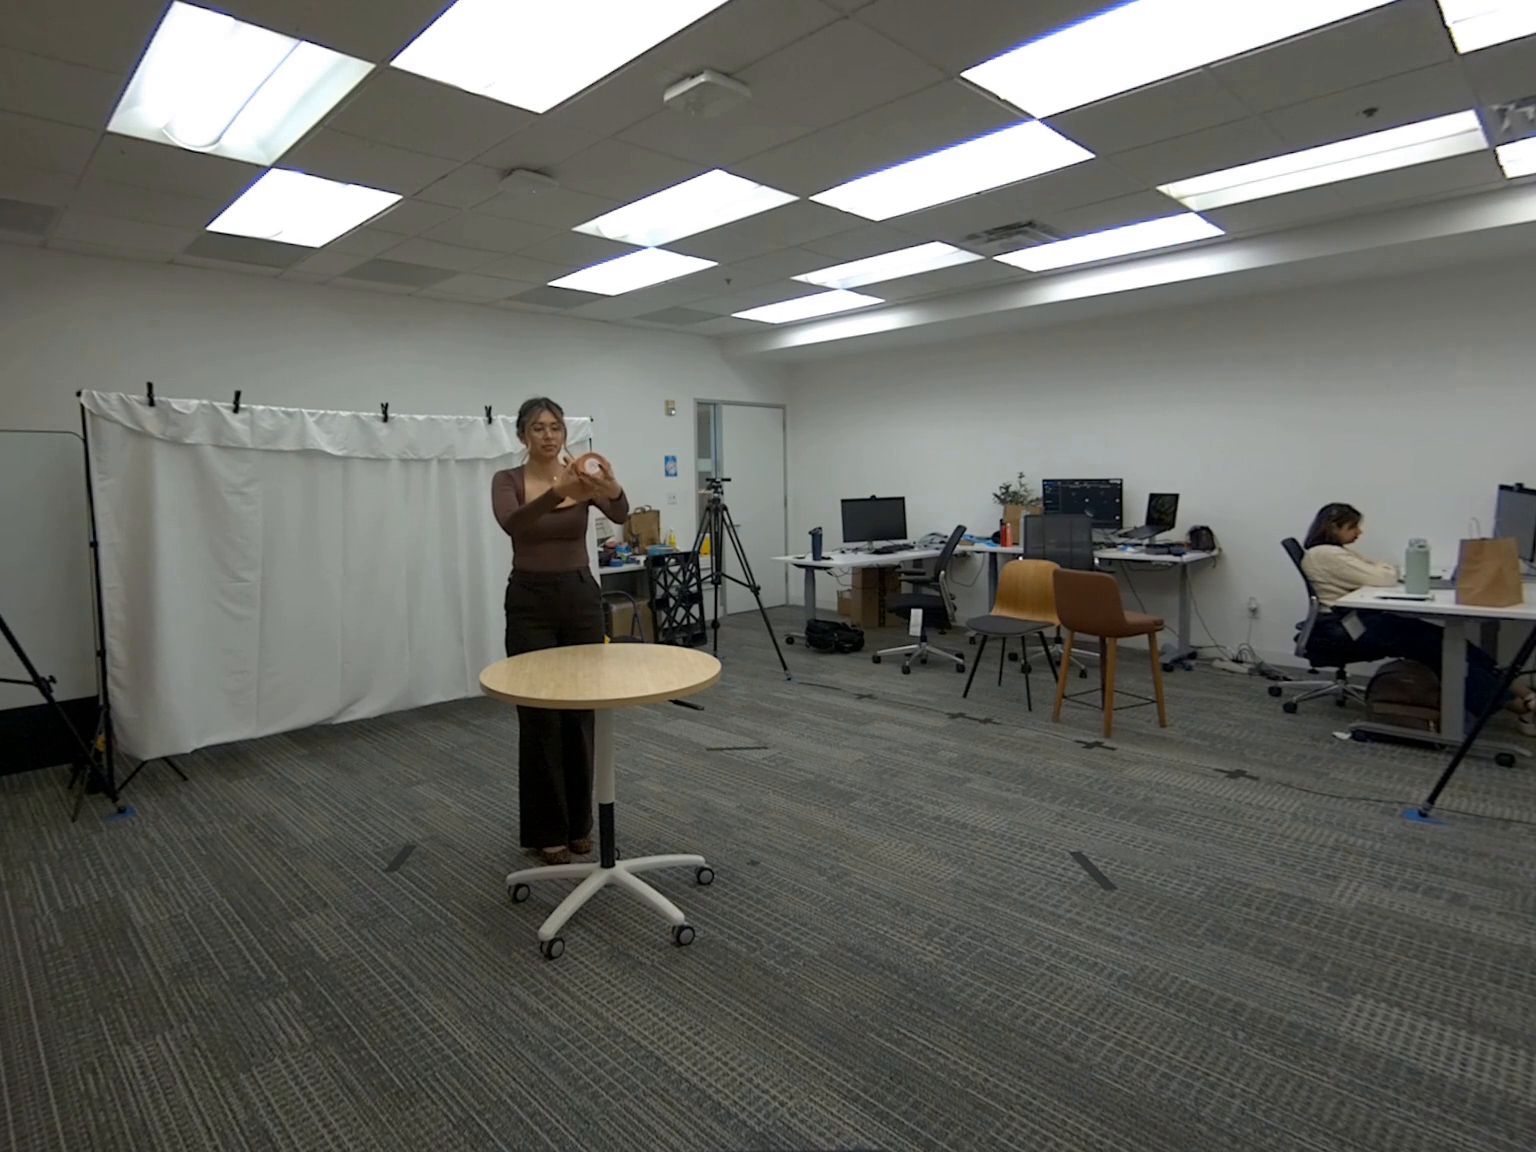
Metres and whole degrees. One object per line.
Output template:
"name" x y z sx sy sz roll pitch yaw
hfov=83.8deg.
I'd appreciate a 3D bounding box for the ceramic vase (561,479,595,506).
"ceramic vase" -0.606 -0.342 2.883 0.156 0.136 0.222 12 -12 -19
